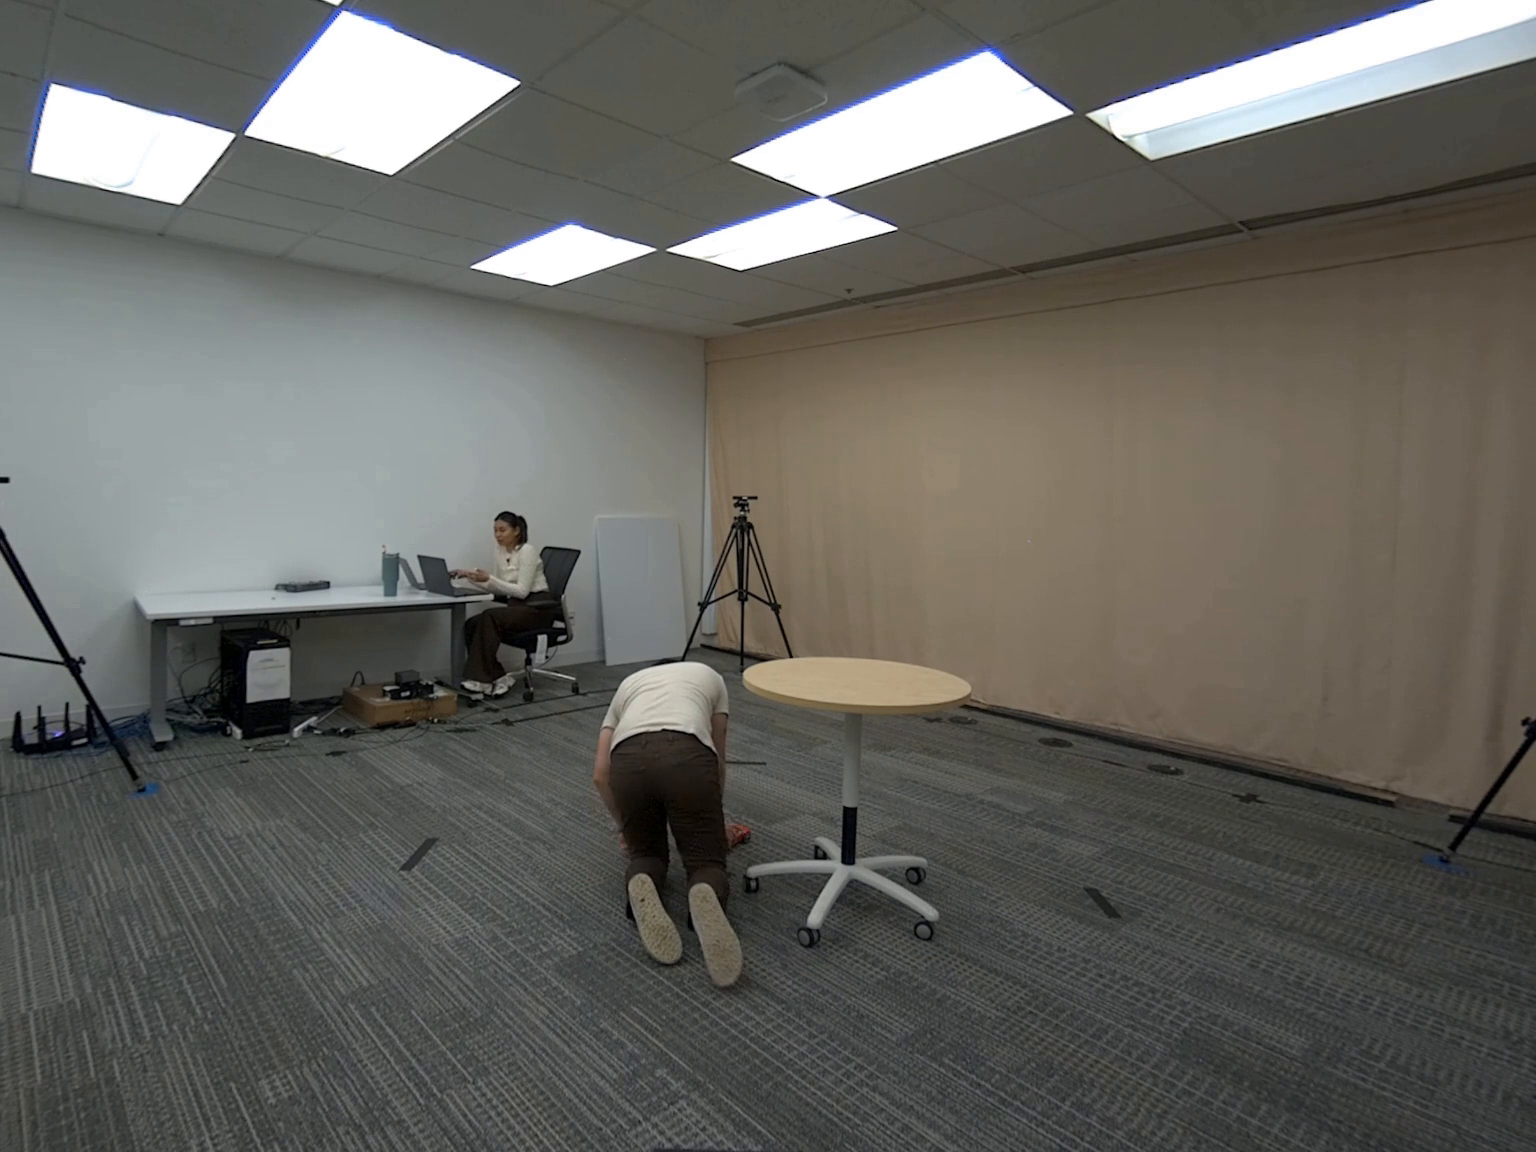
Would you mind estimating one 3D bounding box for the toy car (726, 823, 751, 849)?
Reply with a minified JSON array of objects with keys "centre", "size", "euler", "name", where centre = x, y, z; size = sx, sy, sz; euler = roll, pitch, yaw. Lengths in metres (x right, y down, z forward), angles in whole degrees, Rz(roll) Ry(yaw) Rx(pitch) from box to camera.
[{"centre":[-0.198,1.051,3.371],"size":[0.134,0.083,0.248],"euler":[7,-2,45],"name":"toy car"}]
